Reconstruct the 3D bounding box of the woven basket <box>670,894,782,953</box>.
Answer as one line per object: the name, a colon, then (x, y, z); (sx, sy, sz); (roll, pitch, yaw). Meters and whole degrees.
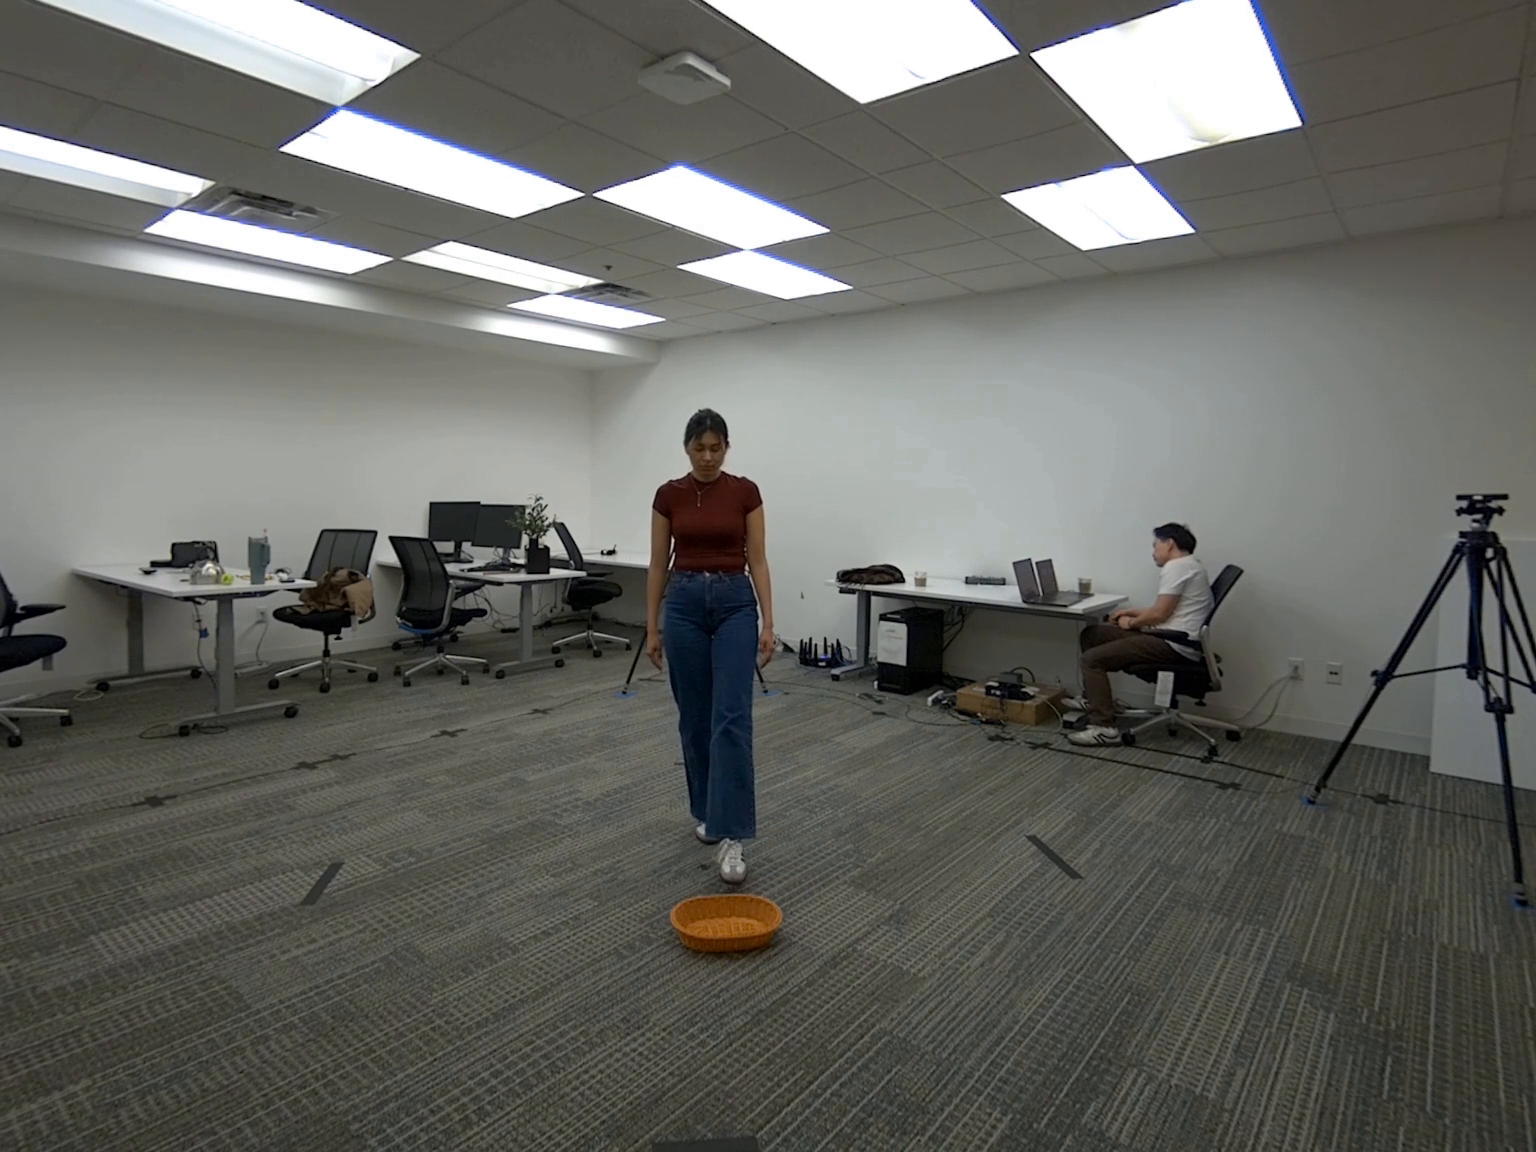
woven basket: (-0.135, 1.069, 2.628); (0.347, 0.073, 0.256); (-1, 8, -10)
